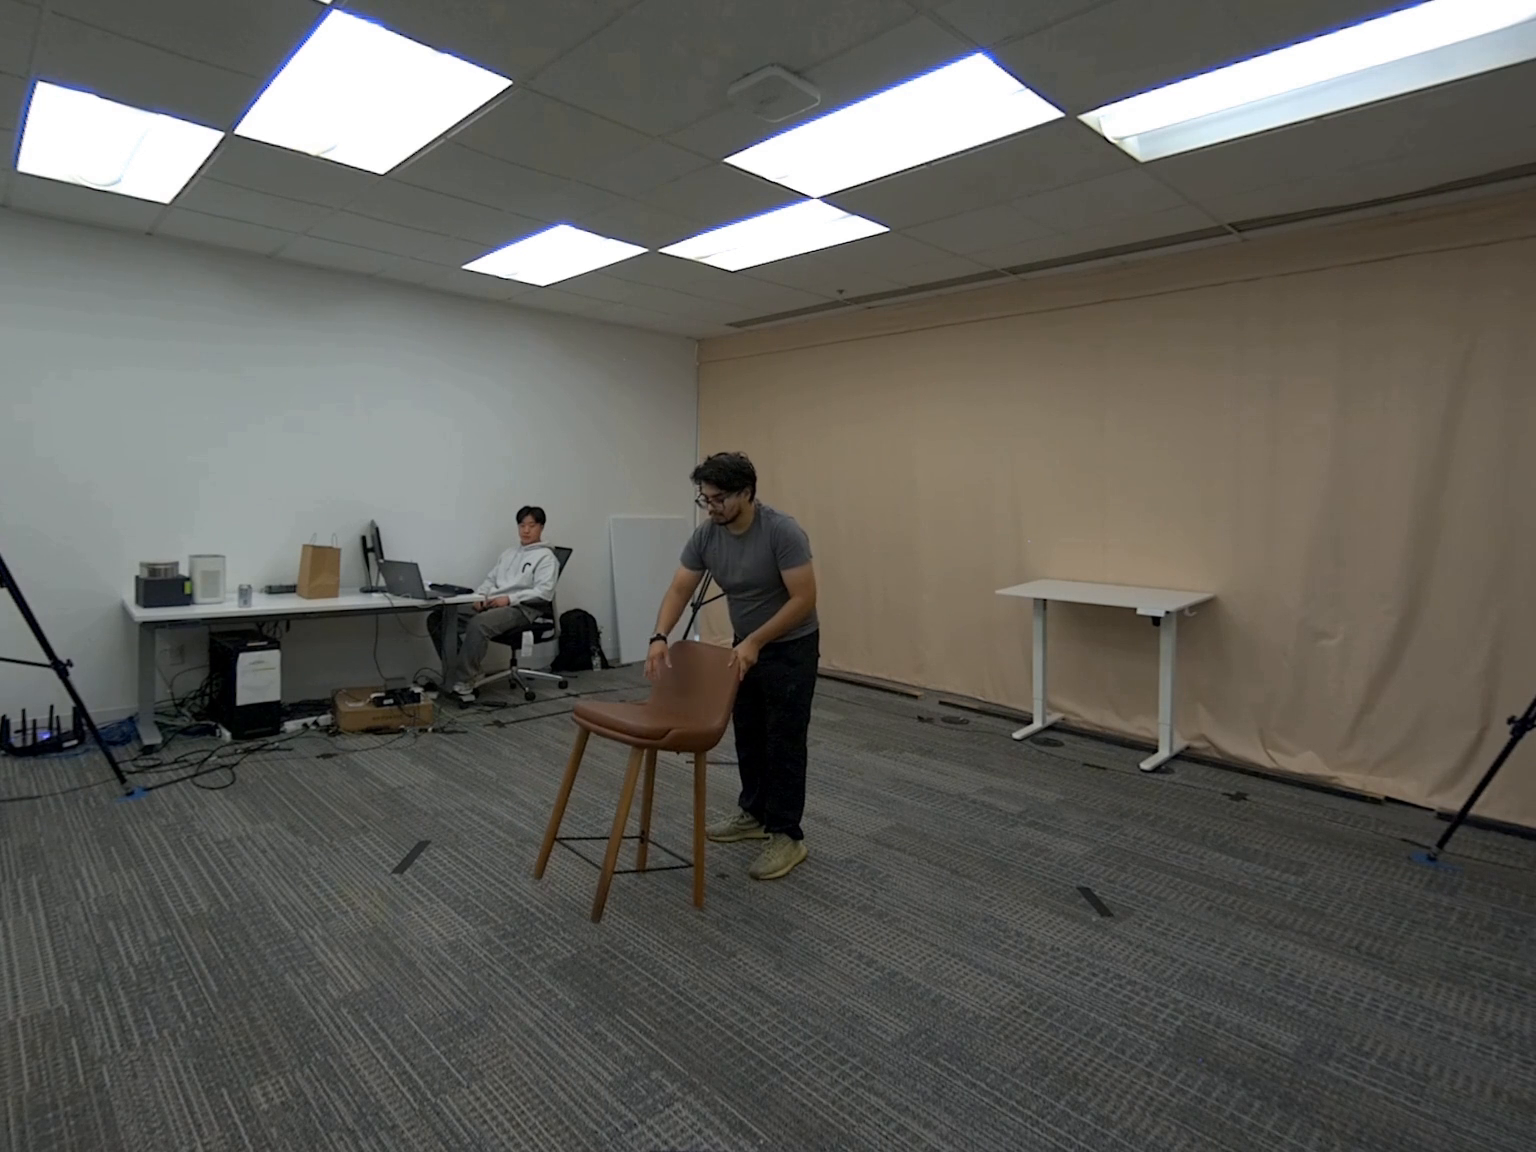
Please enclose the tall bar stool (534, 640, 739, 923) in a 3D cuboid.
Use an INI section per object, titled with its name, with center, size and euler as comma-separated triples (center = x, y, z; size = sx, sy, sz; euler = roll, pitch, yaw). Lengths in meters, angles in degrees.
[tall bar stool]
center = -0.436, 0.655, 2.883
size = 0.454, 0.892, 0.468
euler = 15, -7, -41
